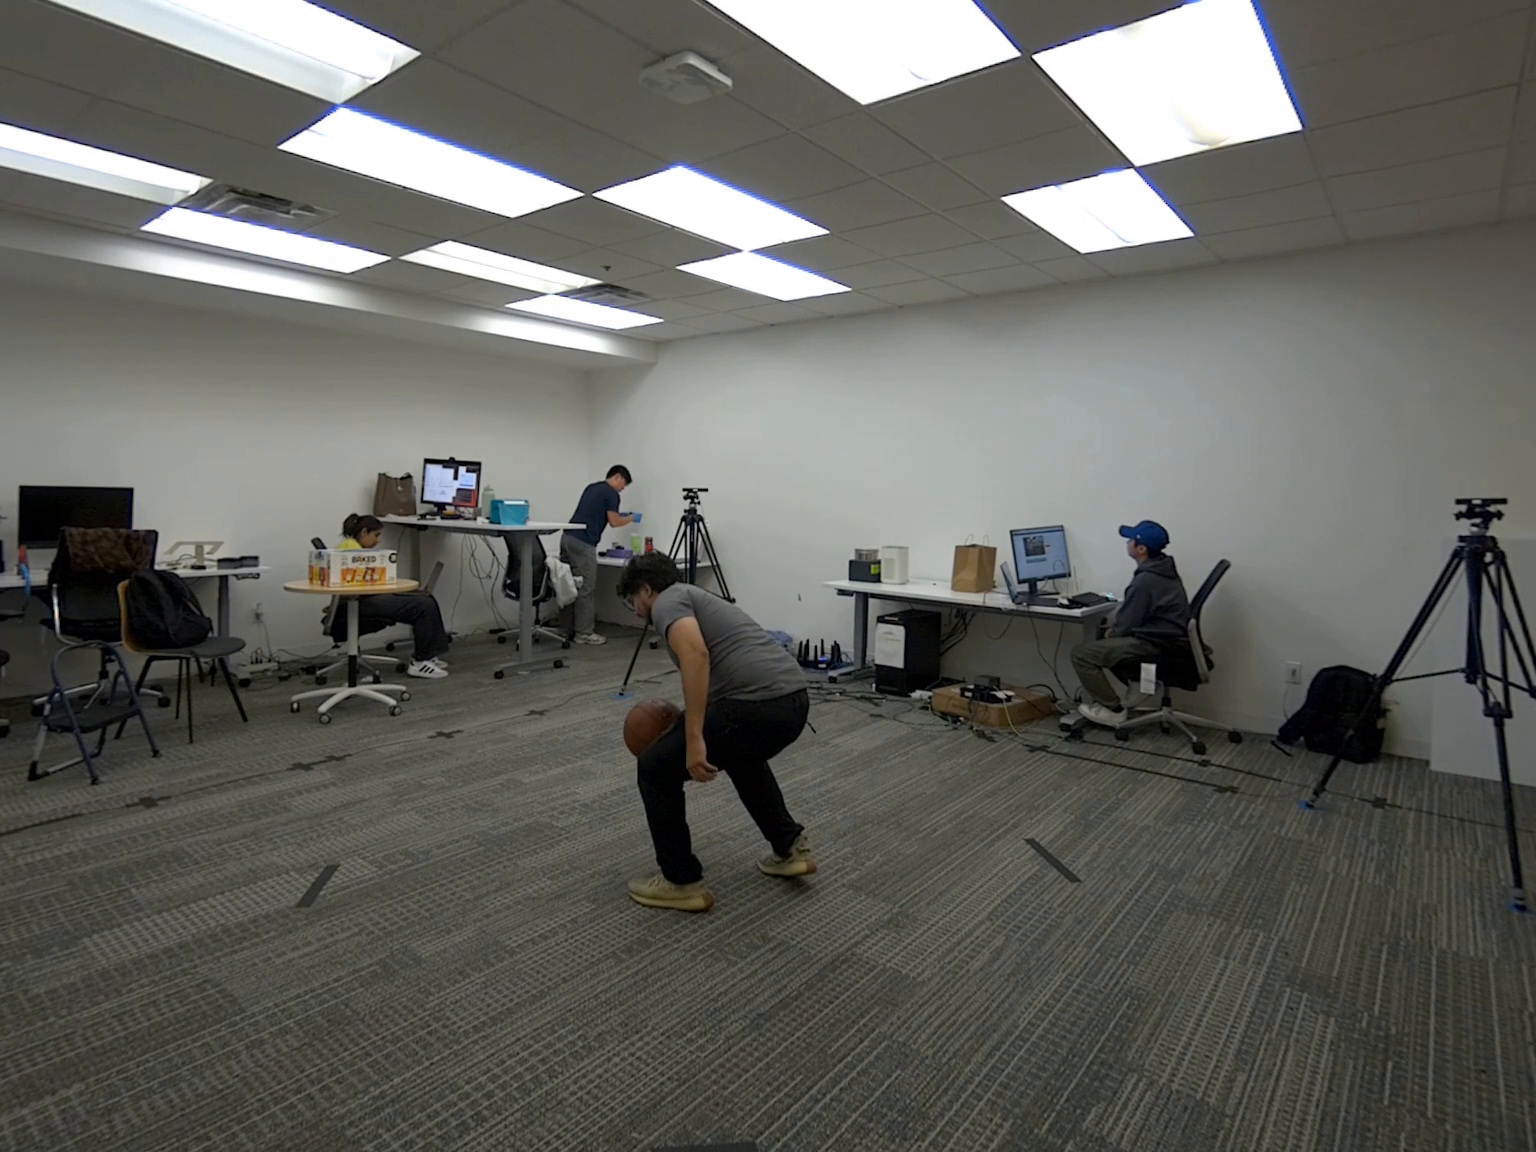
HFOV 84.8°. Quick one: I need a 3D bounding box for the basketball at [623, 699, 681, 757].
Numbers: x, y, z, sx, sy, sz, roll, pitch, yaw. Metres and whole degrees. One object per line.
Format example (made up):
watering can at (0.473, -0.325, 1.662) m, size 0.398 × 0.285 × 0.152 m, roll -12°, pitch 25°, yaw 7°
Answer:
basketball at (-0.432, 0.571, 3.189) m, size 0.235 × 0.235 × 0.237 m, roll 1°, pitch 4°, yaw -2°
